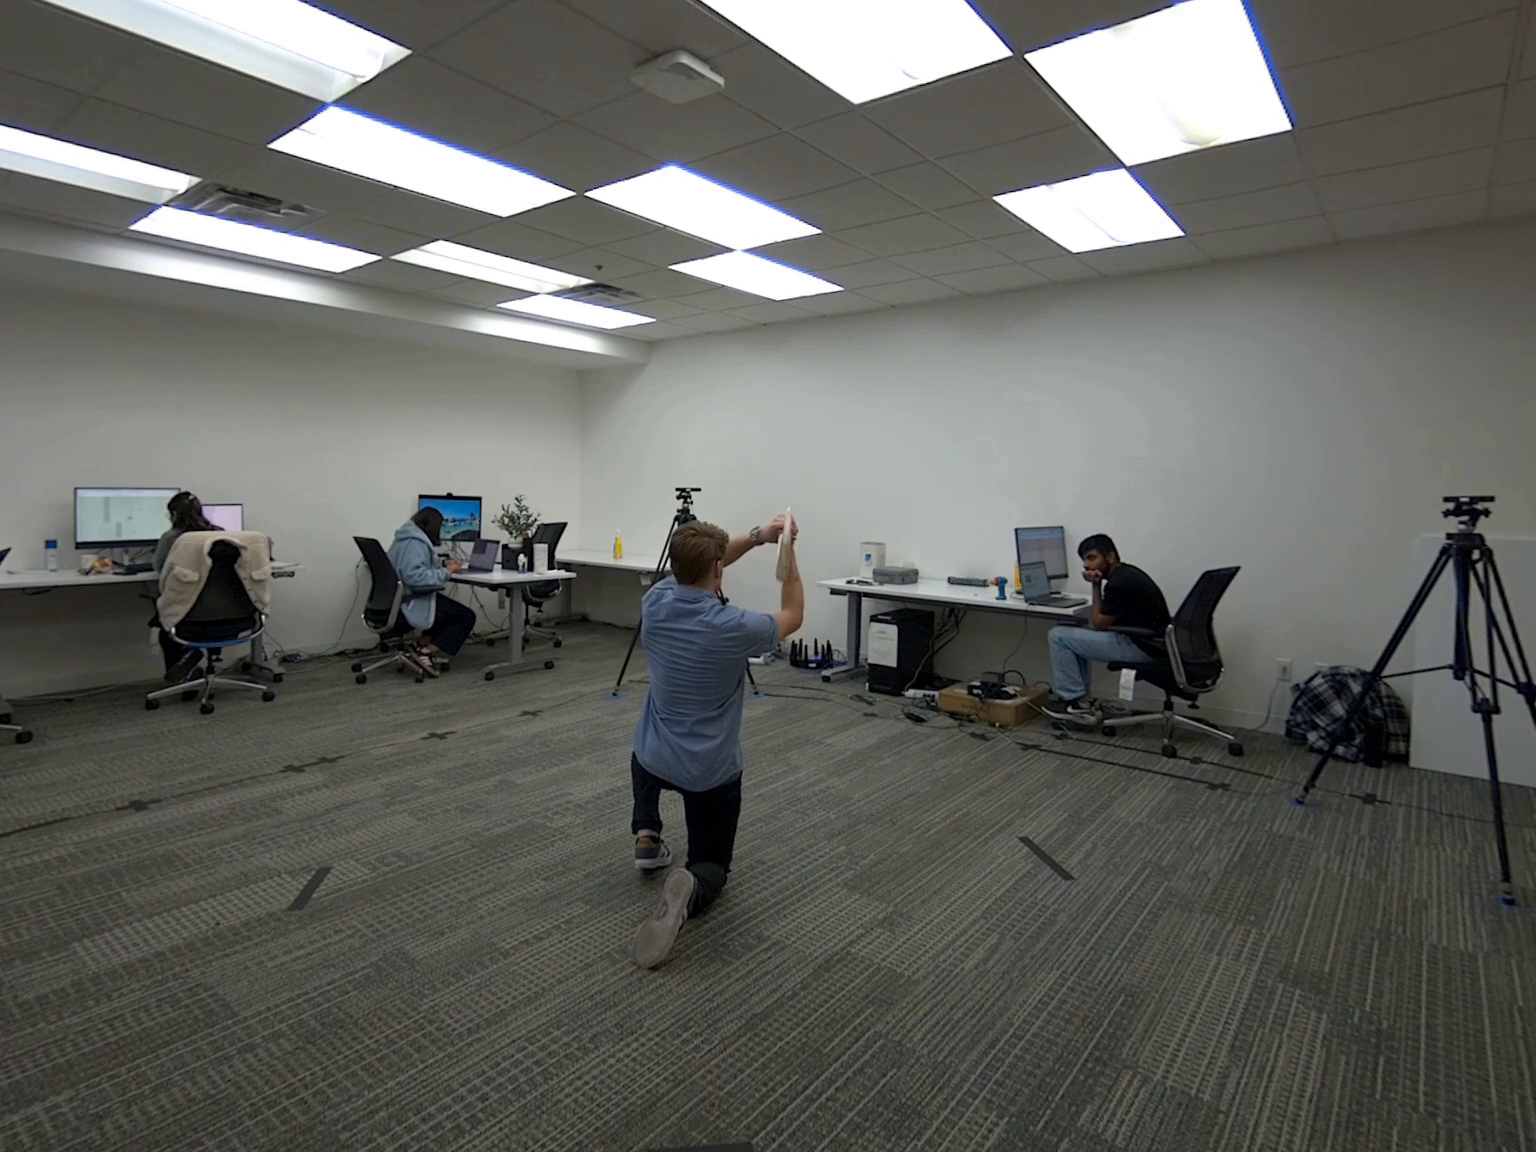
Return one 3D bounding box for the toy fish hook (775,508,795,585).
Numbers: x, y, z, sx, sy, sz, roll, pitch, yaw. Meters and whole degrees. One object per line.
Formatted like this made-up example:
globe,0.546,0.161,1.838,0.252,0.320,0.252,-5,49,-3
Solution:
toy fish hook,0.057,-0.153,2.822,0.048,0.221,0.515,14,25,-4
